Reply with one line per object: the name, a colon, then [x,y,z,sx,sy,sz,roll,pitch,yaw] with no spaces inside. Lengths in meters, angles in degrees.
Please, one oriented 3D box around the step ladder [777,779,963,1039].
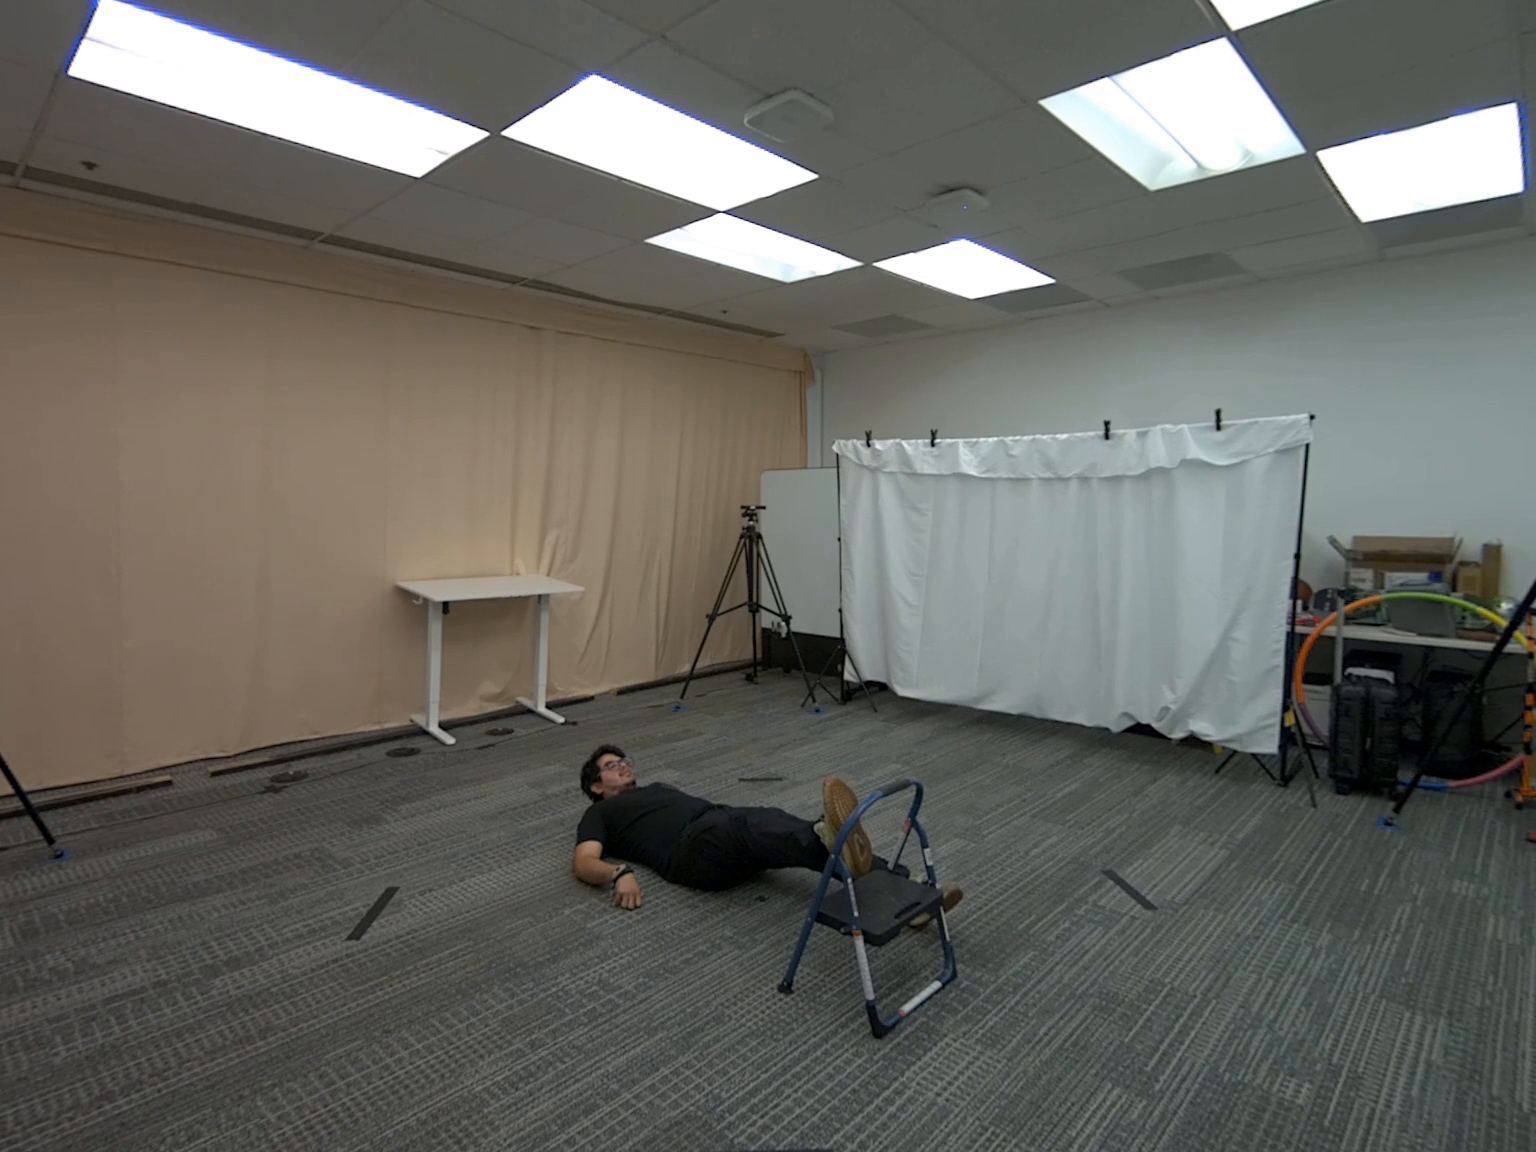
step ladder: [0.300,0.887,2.433,0.361,0.604,0.417,4,6,42]
